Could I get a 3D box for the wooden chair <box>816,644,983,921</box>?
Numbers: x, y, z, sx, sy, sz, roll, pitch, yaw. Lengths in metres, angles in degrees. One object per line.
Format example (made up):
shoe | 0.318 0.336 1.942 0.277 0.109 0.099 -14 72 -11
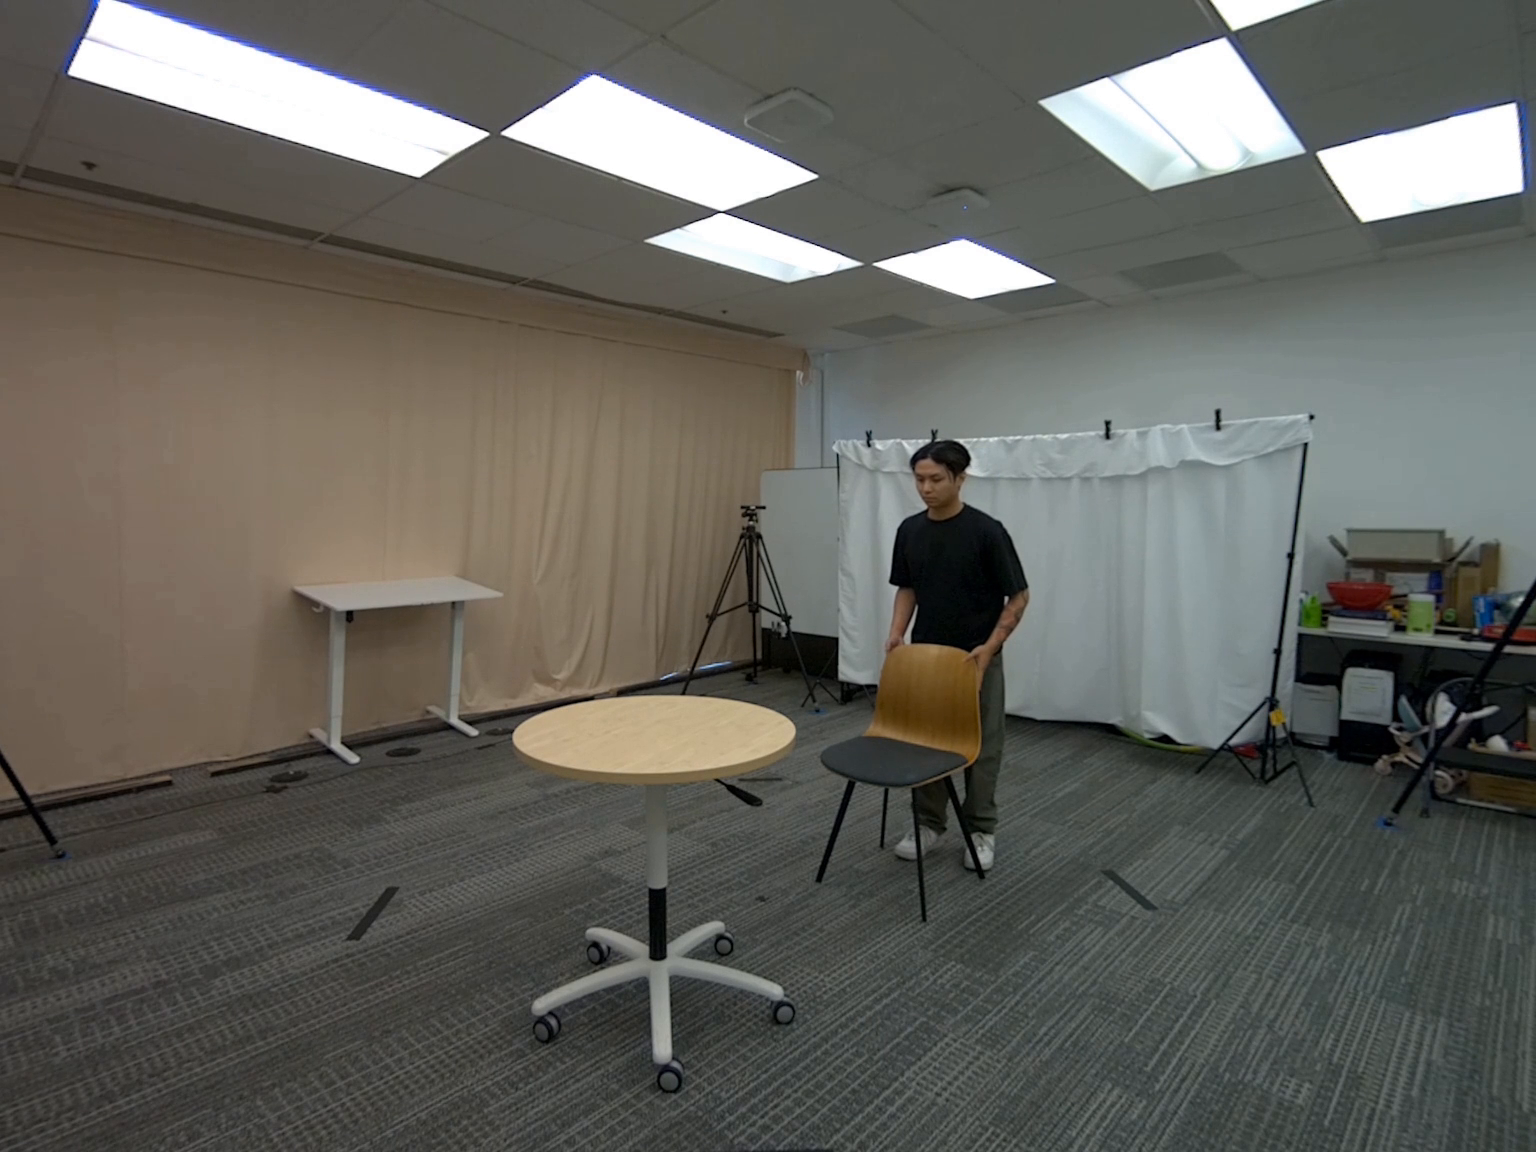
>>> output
wooden chair | 0.489 0.703 3.089 0.494 0.877 0.506 4 0 41
